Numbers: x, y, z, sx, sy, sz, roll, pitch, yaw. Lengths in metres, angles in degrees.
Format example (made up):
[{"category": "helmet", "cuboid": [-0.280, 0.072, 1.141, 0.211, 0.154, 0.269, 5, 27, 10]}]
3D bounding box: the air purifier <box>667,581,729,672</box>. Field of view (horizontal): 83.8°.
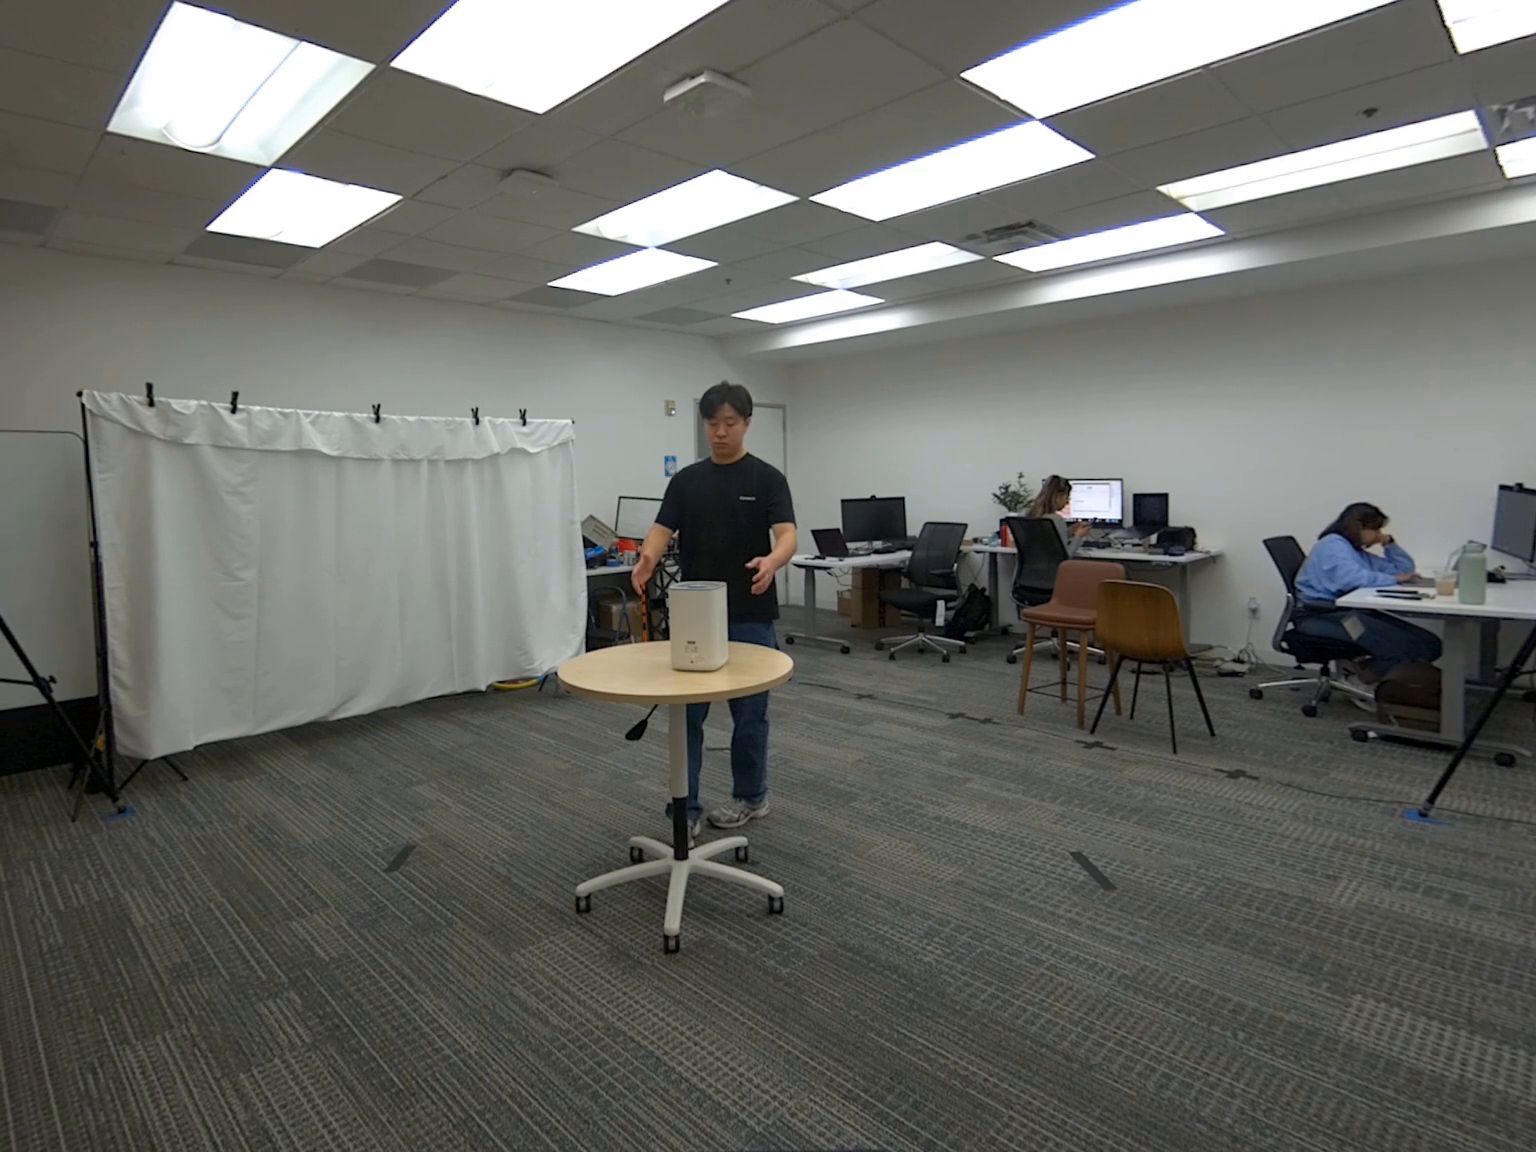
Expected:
[{"category": "air purifier", "cuboid": [-0.216, 0.162, 2.741, 0.173, 0.264, 0.170, 0, 5, 13]}]
